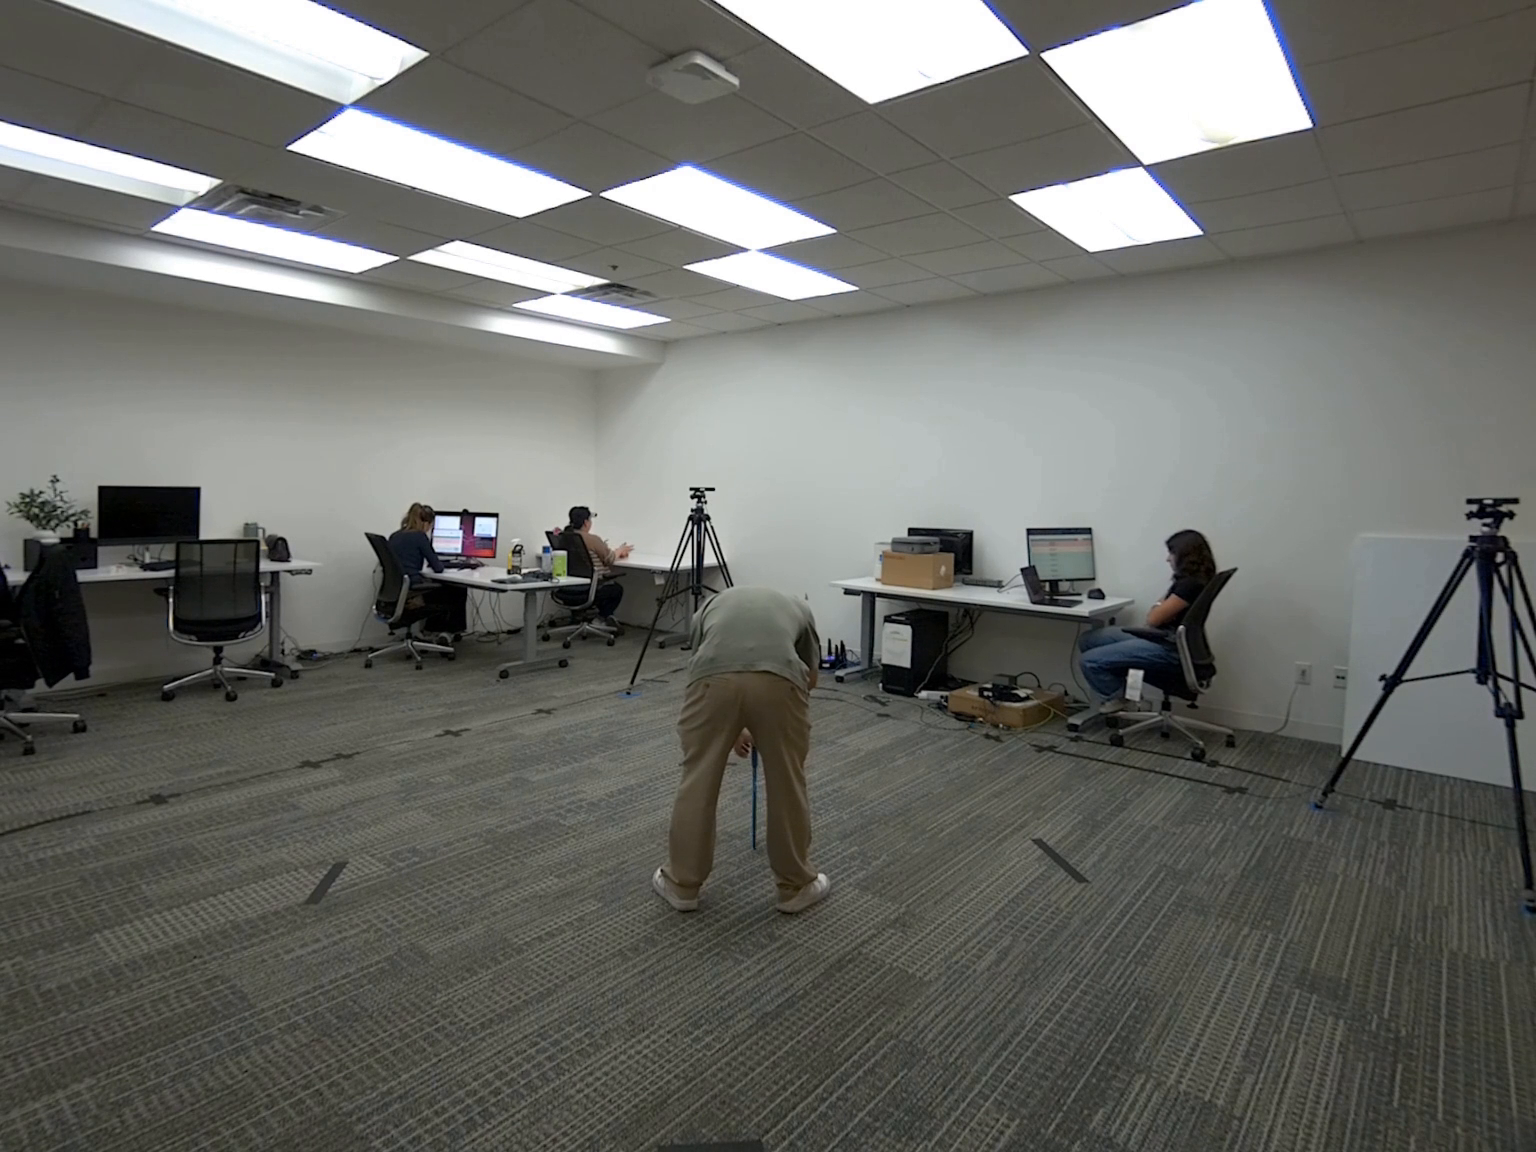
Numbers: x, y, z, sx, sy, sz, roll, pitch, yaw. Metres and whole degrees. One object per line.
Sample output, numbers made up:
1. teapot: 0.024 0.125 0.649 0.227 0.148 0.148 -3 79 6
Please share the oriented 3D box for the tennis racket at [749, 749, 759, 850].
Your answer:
1. tennis racket: -0.062 0.835 3.303 0.032 0.434 0.214 0 -2 -3
